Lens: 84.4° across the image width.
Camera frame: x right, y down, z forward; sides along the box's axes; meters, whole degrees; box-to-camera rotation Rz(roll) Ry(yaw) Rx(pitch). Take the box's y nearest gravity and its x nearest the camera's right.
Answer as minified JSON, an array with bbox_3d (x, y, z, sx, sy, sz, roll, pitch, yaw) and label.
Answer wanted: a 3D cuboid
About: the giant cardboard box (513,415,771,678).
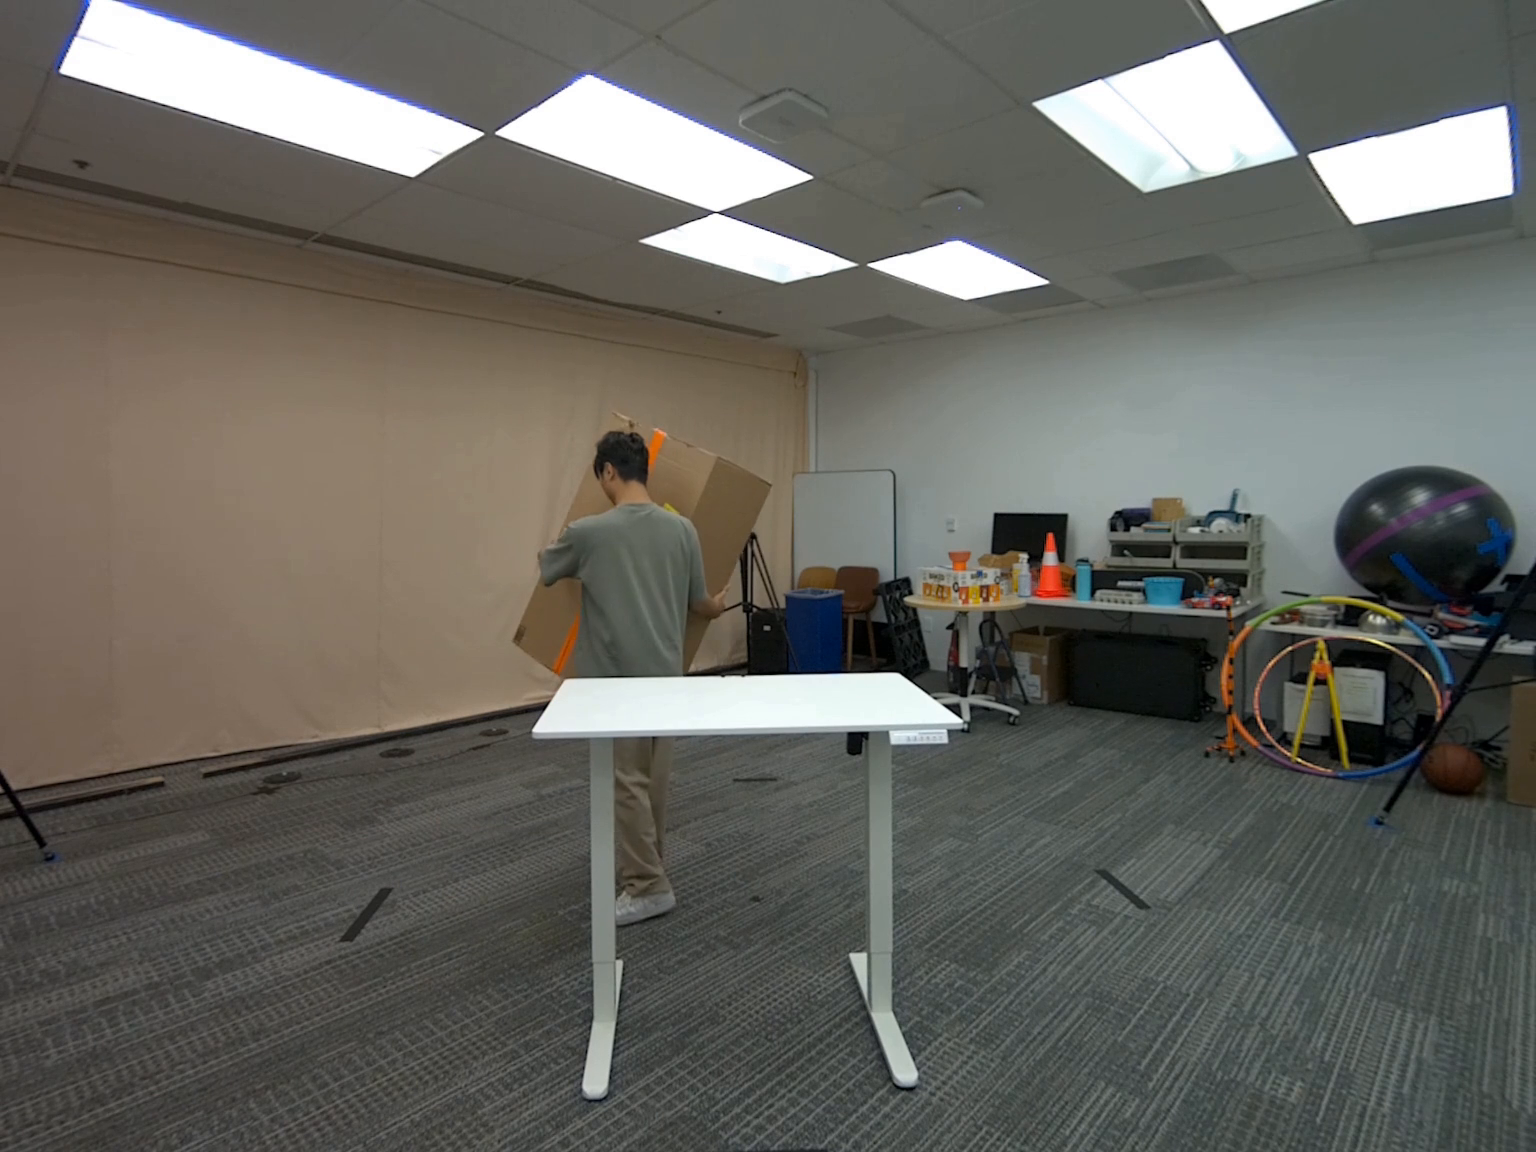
[{"bbox_3d":[-0.510,-0.048,3.392,0.597,1.025,0.412,27,4,31],"label":"giant cardboard box"}]
